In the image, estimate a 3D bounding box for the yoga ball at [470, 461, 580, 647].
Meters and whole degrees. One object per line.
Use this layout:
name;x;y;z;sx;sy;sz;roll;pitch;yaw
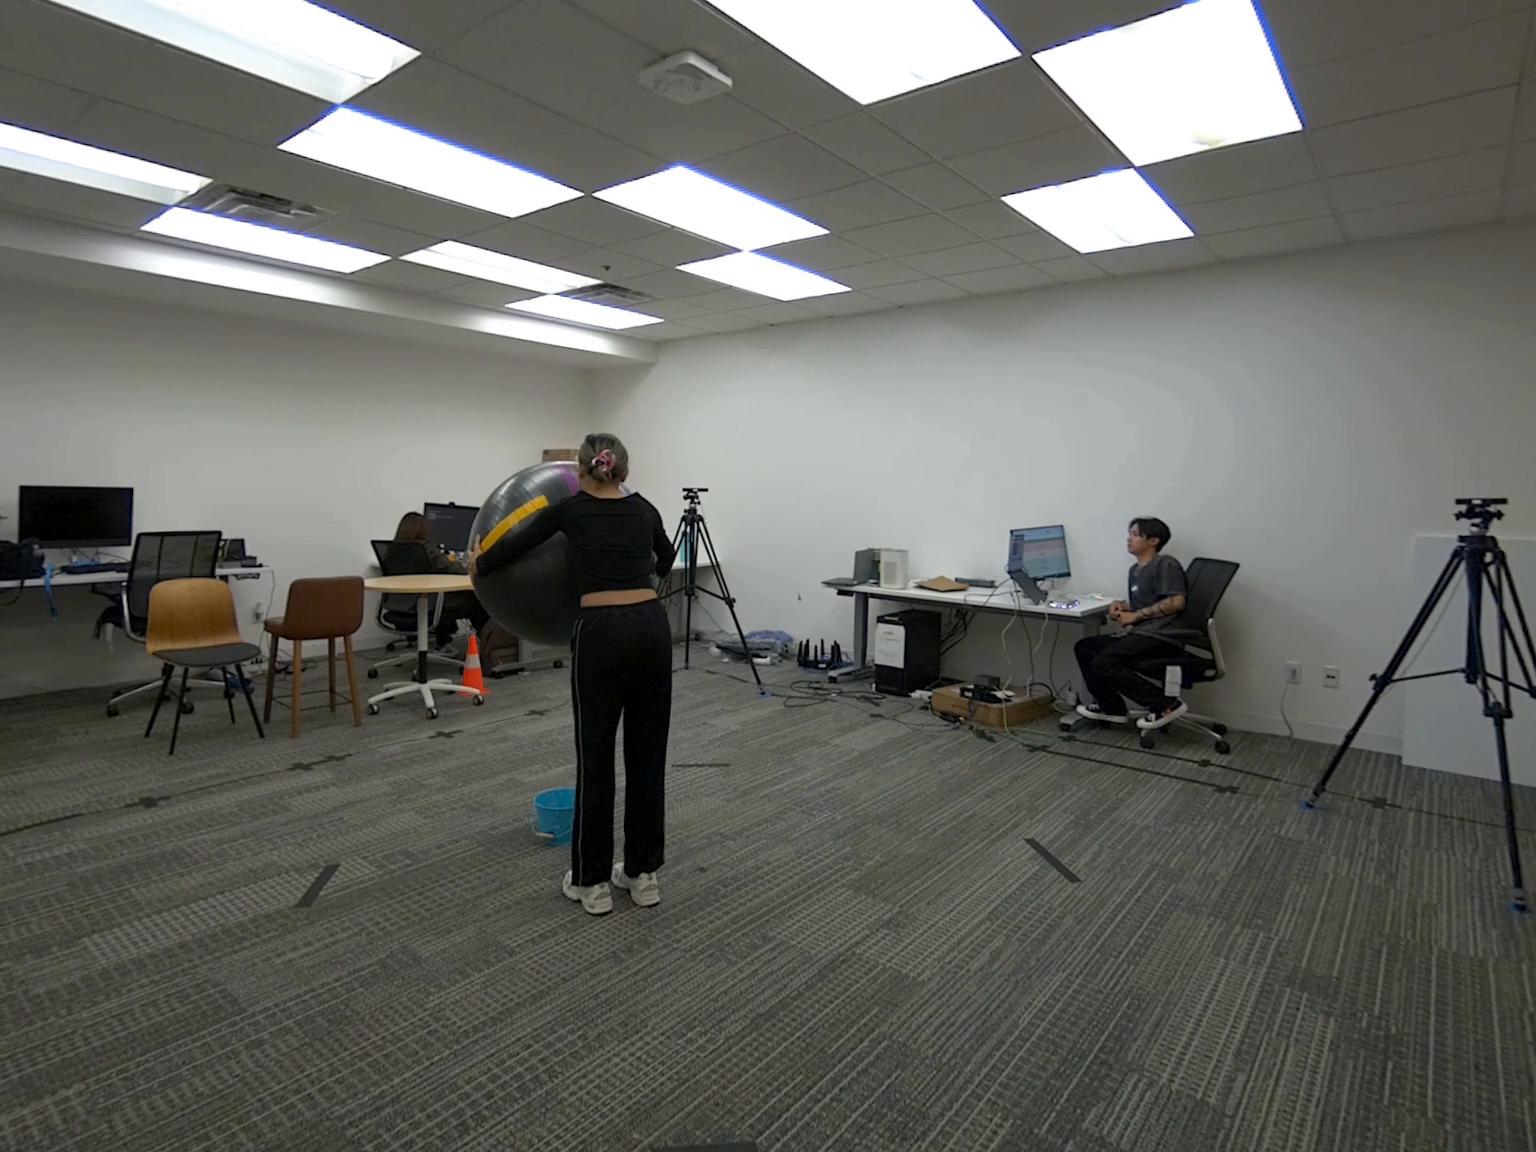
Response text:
yoga ball;-0.855;-0.082;3.497;0.757;0.755;0.762;1;4;-2
